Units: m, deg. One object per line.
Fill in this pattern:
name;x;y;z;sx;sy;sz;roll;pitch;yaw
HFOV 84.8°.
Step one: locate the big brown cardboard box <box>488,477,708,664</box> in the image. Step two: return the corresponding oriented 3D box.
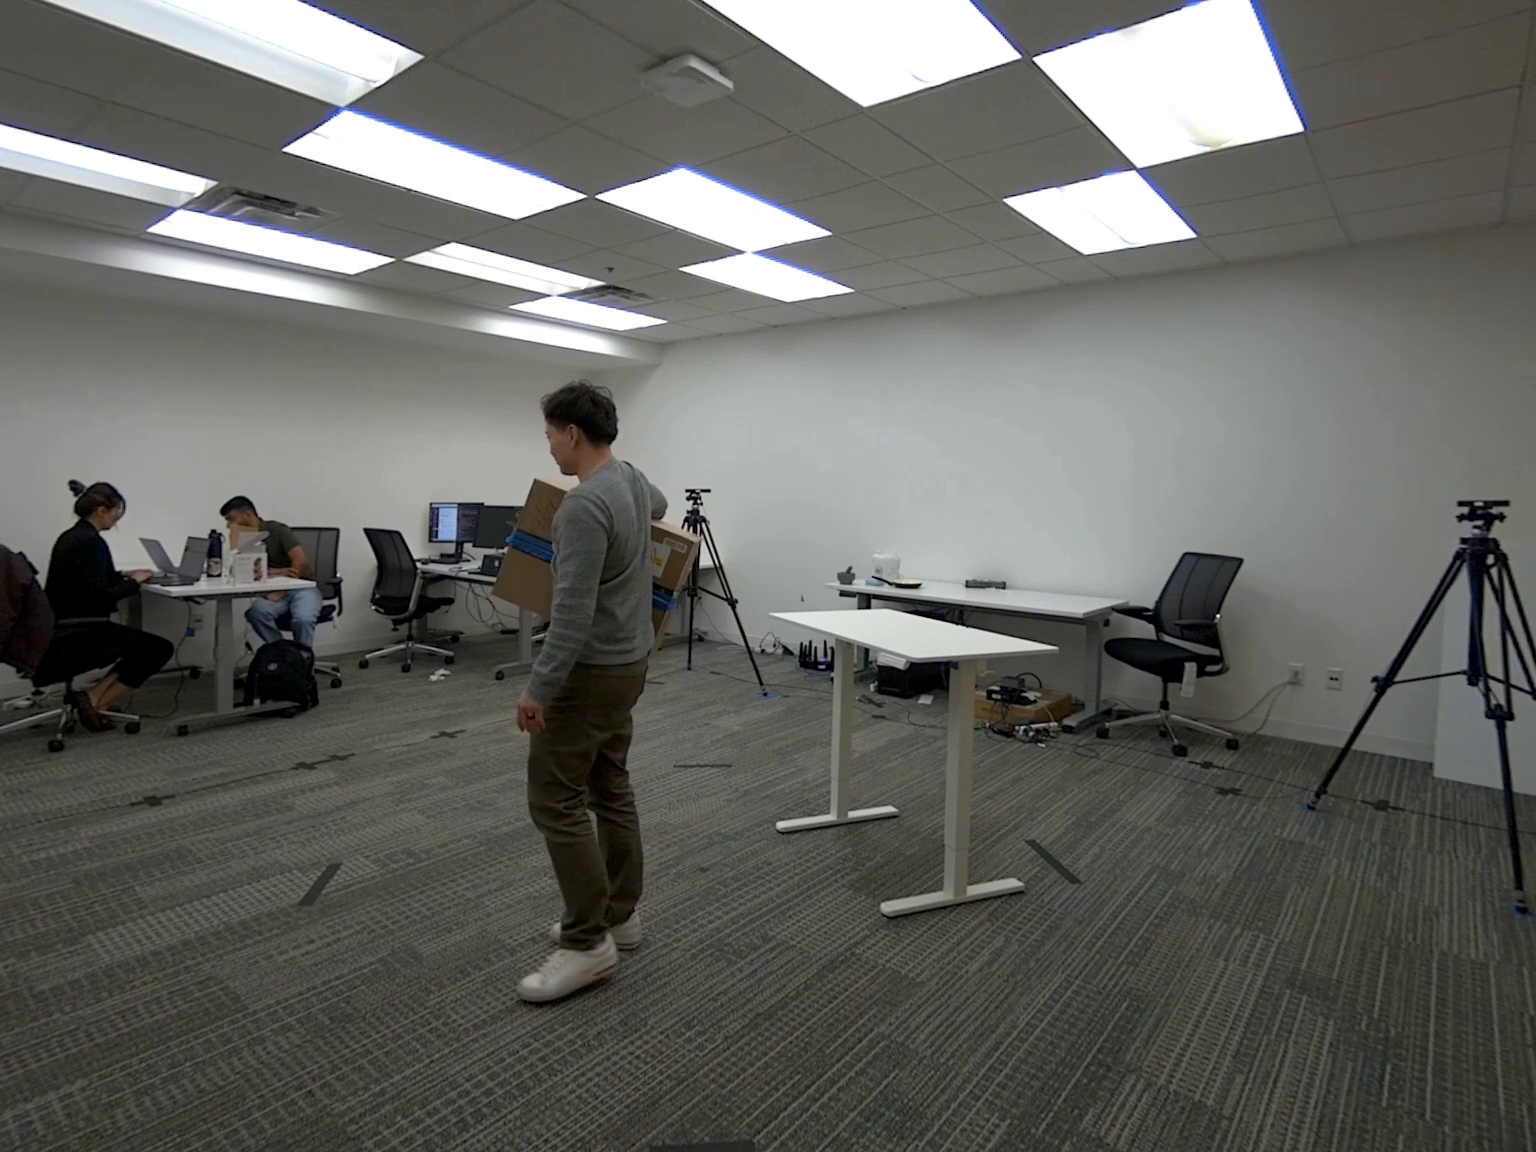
big brown cardboard box;-0.570;-0.033;2.846;0.594;0.416;0.232;22;6;6
